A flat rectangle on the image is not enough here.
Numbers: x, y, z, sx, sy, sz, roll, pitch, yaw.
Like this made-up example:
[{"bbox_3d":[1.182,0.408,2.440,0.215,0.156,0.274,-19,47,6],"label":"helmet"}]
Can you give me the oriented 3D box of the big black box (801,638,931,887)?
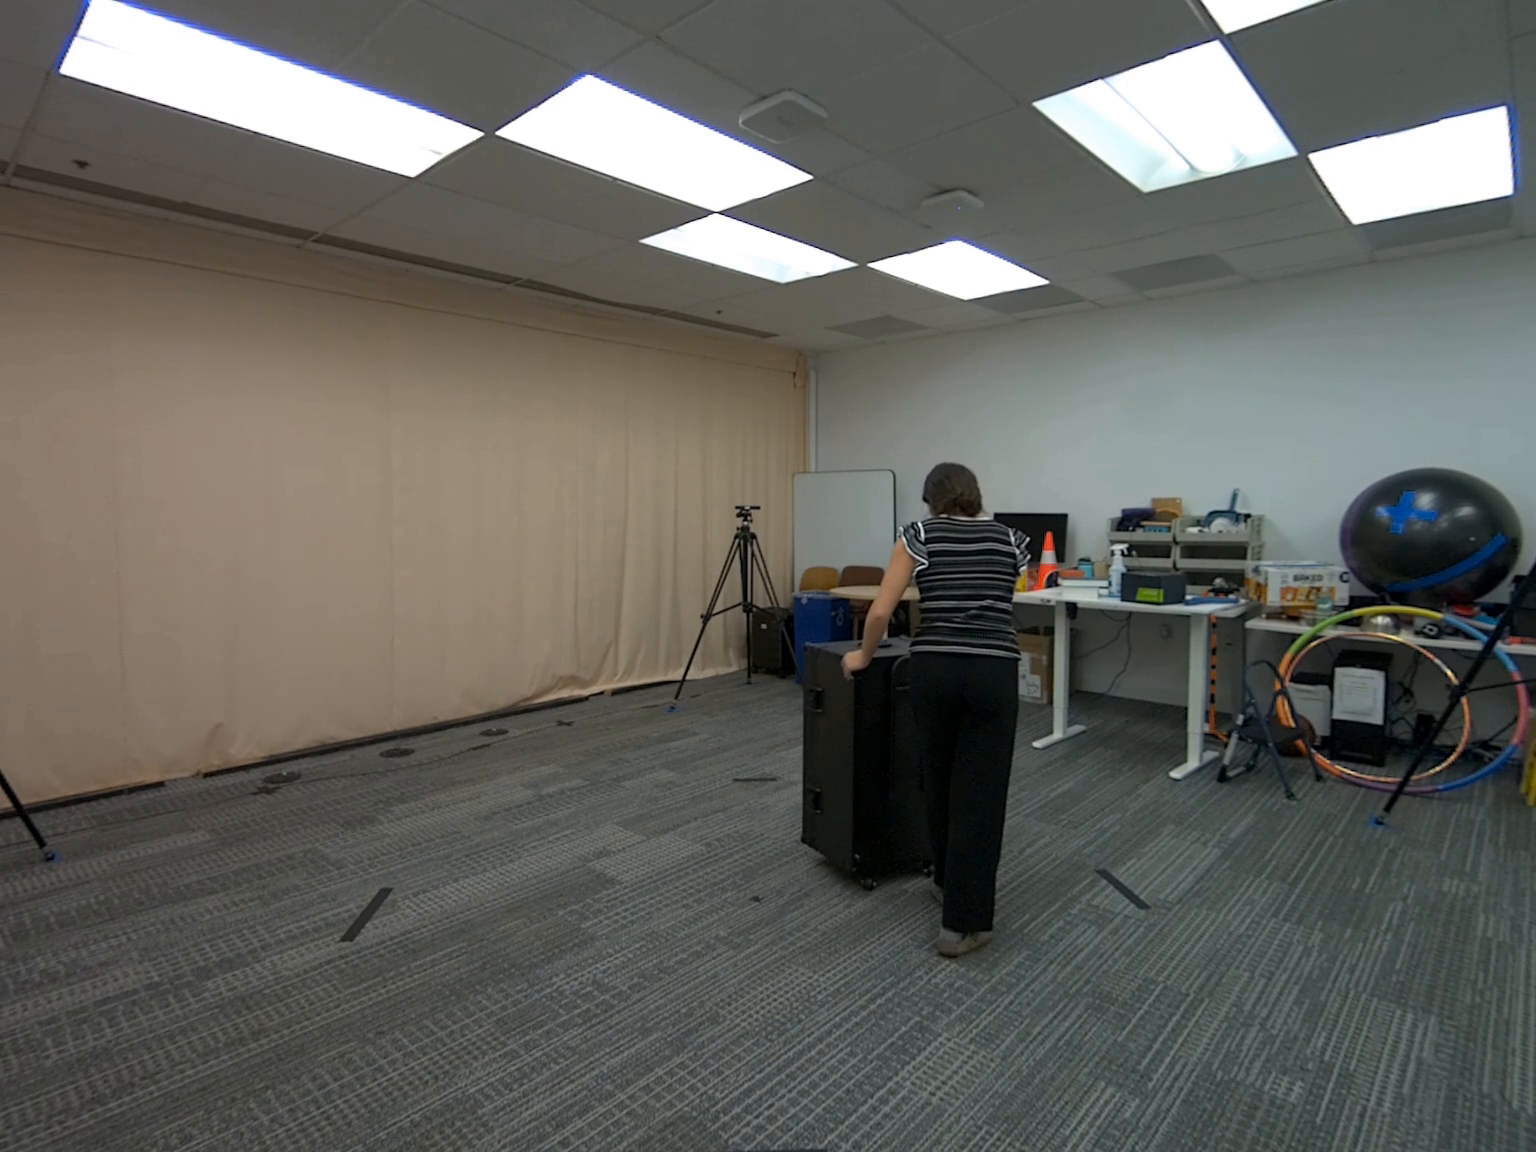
[{"bbox_3d":[0.443,0.696,3.232,0.508,0.859,0.407,-1,4,-27],"label":"big black box"}]
